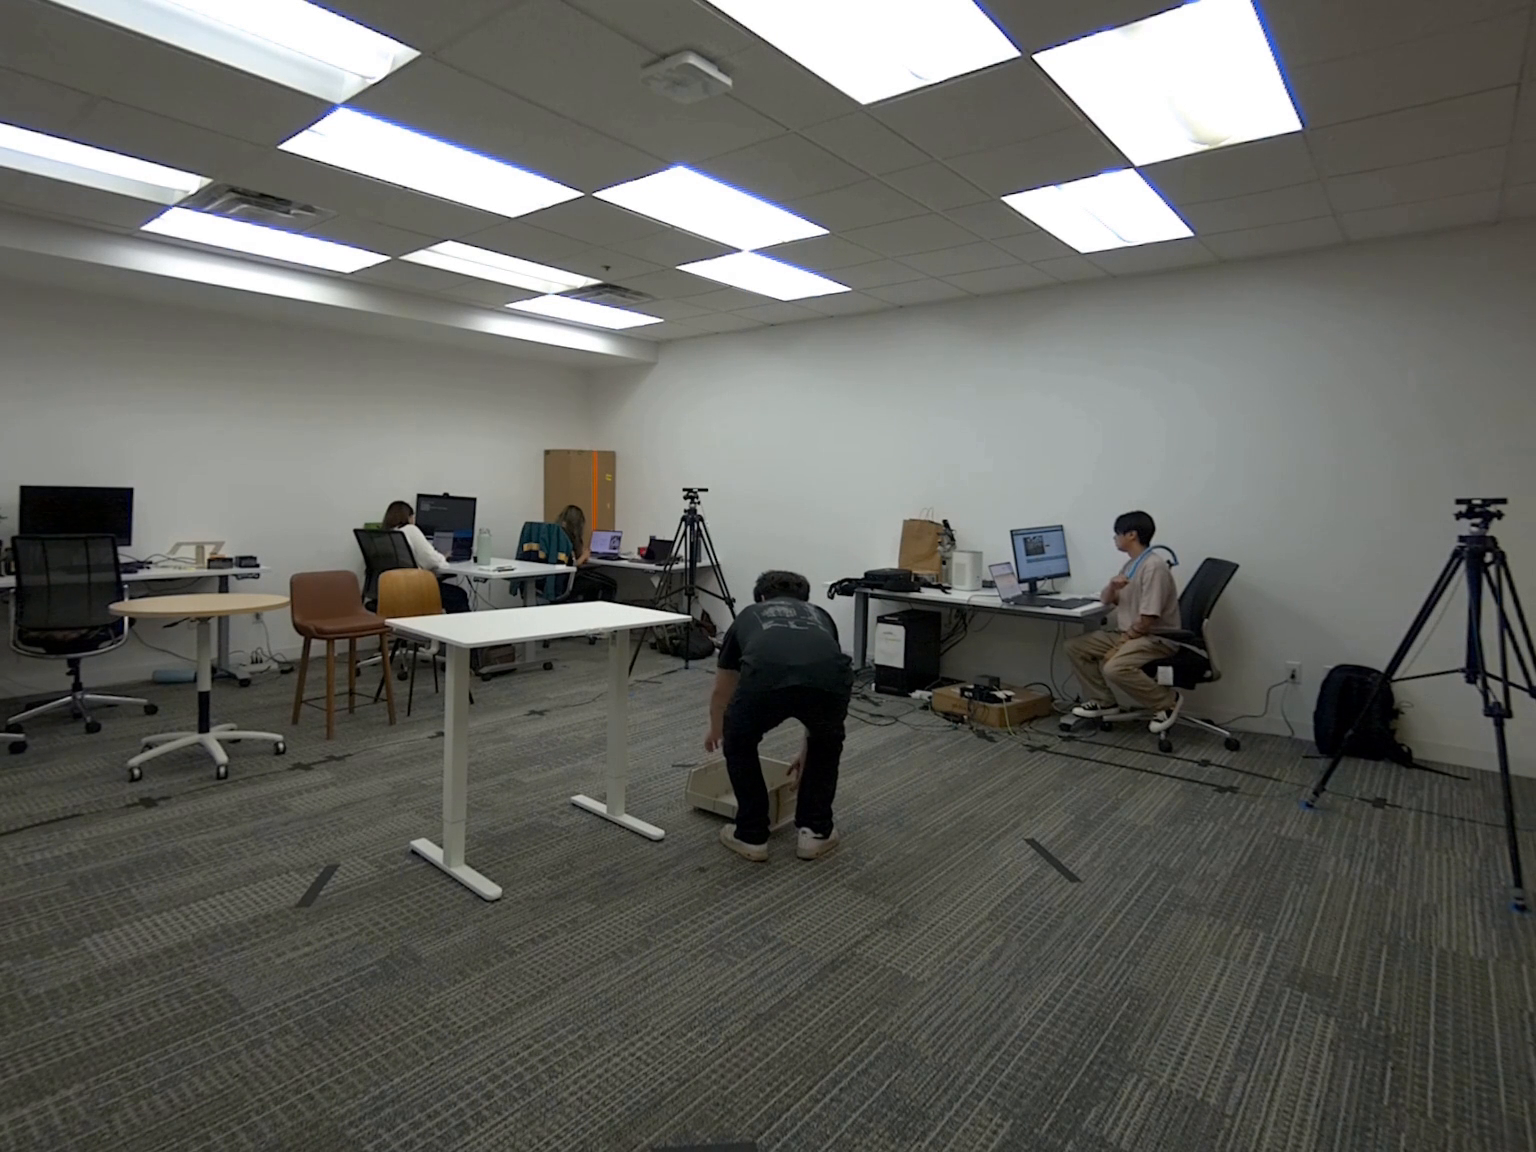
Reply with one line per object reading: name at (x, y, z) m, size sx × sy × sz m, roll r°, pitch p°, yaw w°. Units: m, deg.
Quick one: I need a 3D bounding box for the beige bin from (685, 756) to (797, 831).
beige bin at (-0.090, 0.921, 3.677) m, size 0.436 × 0.188 × 0.366 m, roll 4°, pitch 5°, yaw 36°
